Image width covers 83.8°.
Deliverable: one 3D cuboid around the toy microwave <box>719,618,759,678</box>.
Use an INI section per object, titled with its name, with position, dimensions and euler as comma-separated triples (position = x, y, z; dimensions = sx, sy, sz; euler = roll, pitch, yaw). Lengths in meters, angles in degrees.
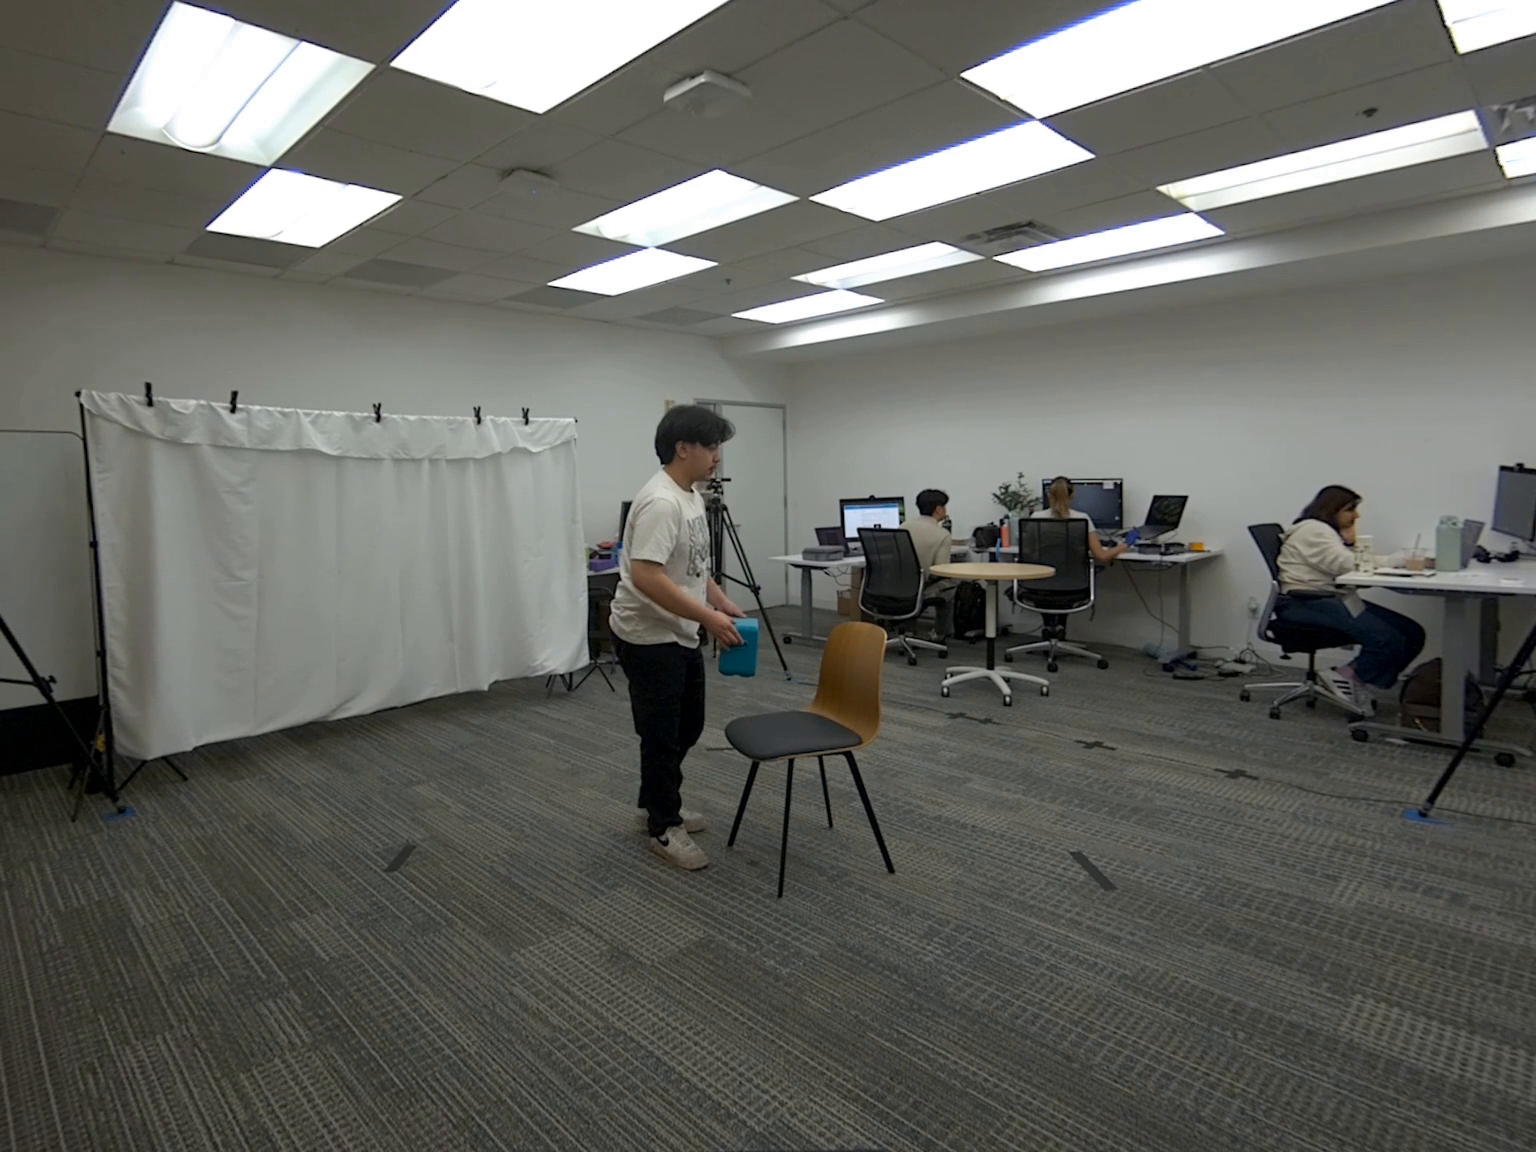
[toy microwave]
position = -0.112, 0.257, 3.104
dimensions = 0.153, 0.184, 0.286
euler = 3, 2, 1
